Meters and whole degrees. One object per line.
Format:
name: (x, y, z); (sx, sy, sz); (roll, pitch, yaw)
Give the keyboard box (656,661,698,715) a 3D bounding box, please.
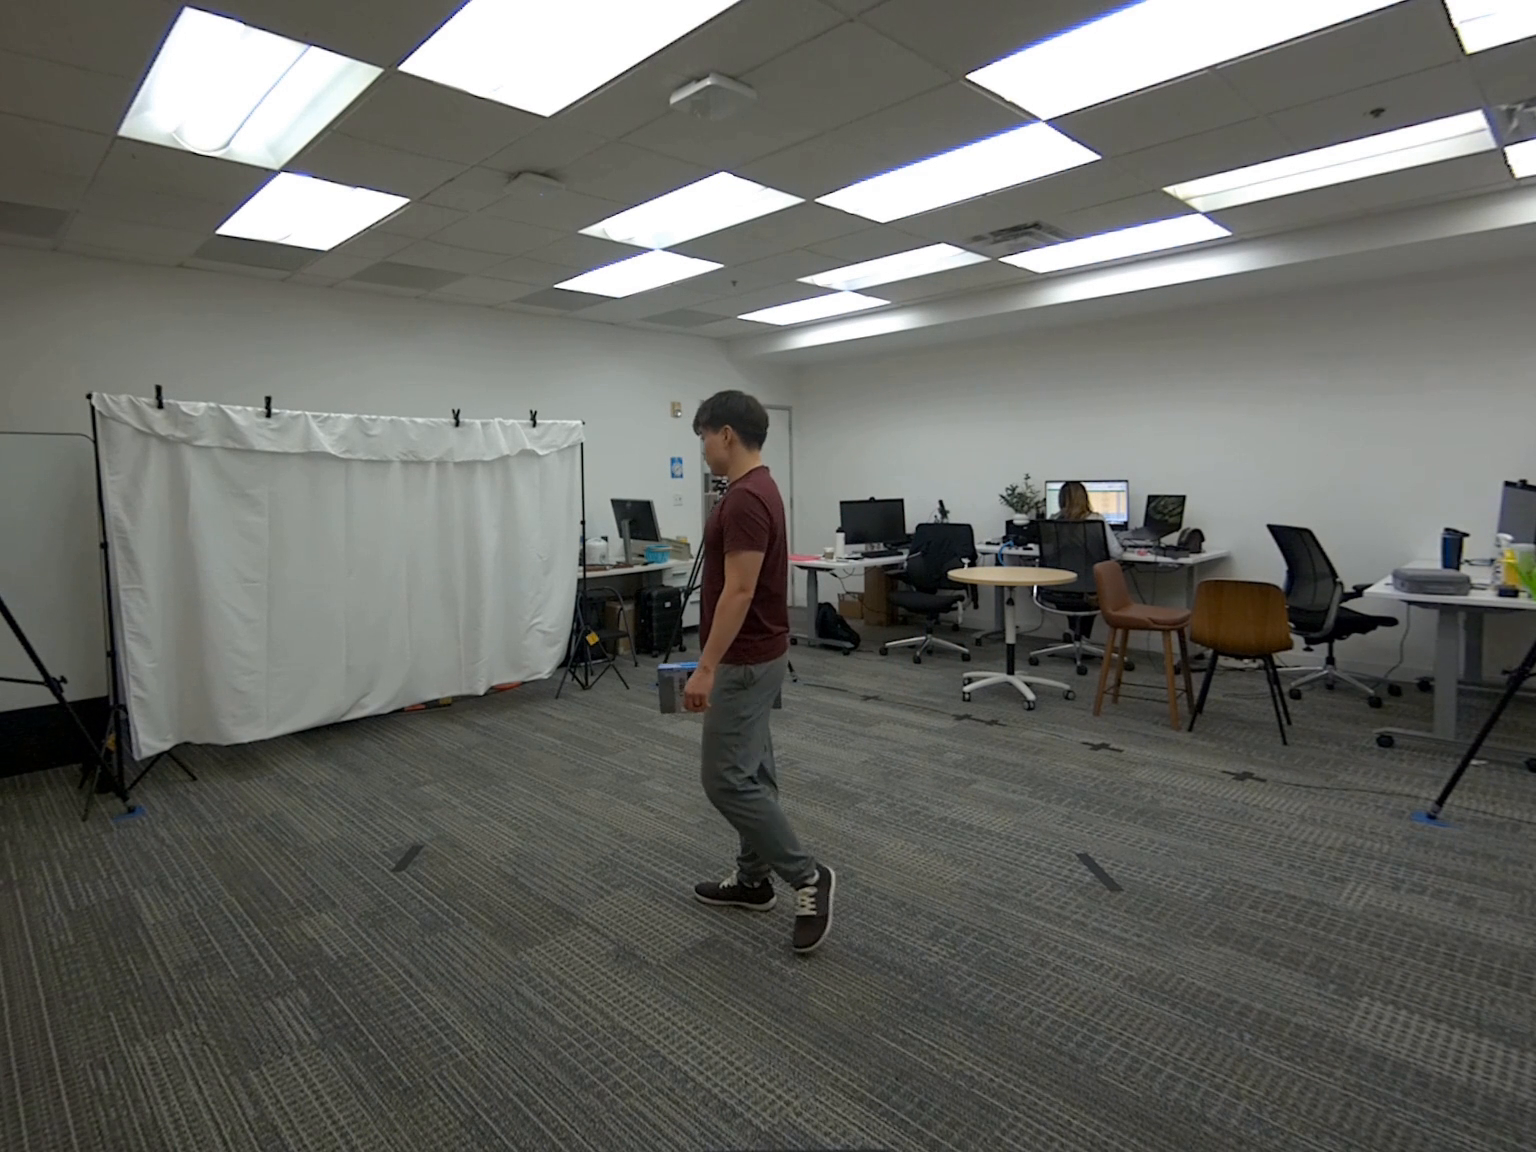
keyboard box: (-0.167, 0.392, 3.067); (0.437, 0.174, 0.059); (-2, 8, 2)
